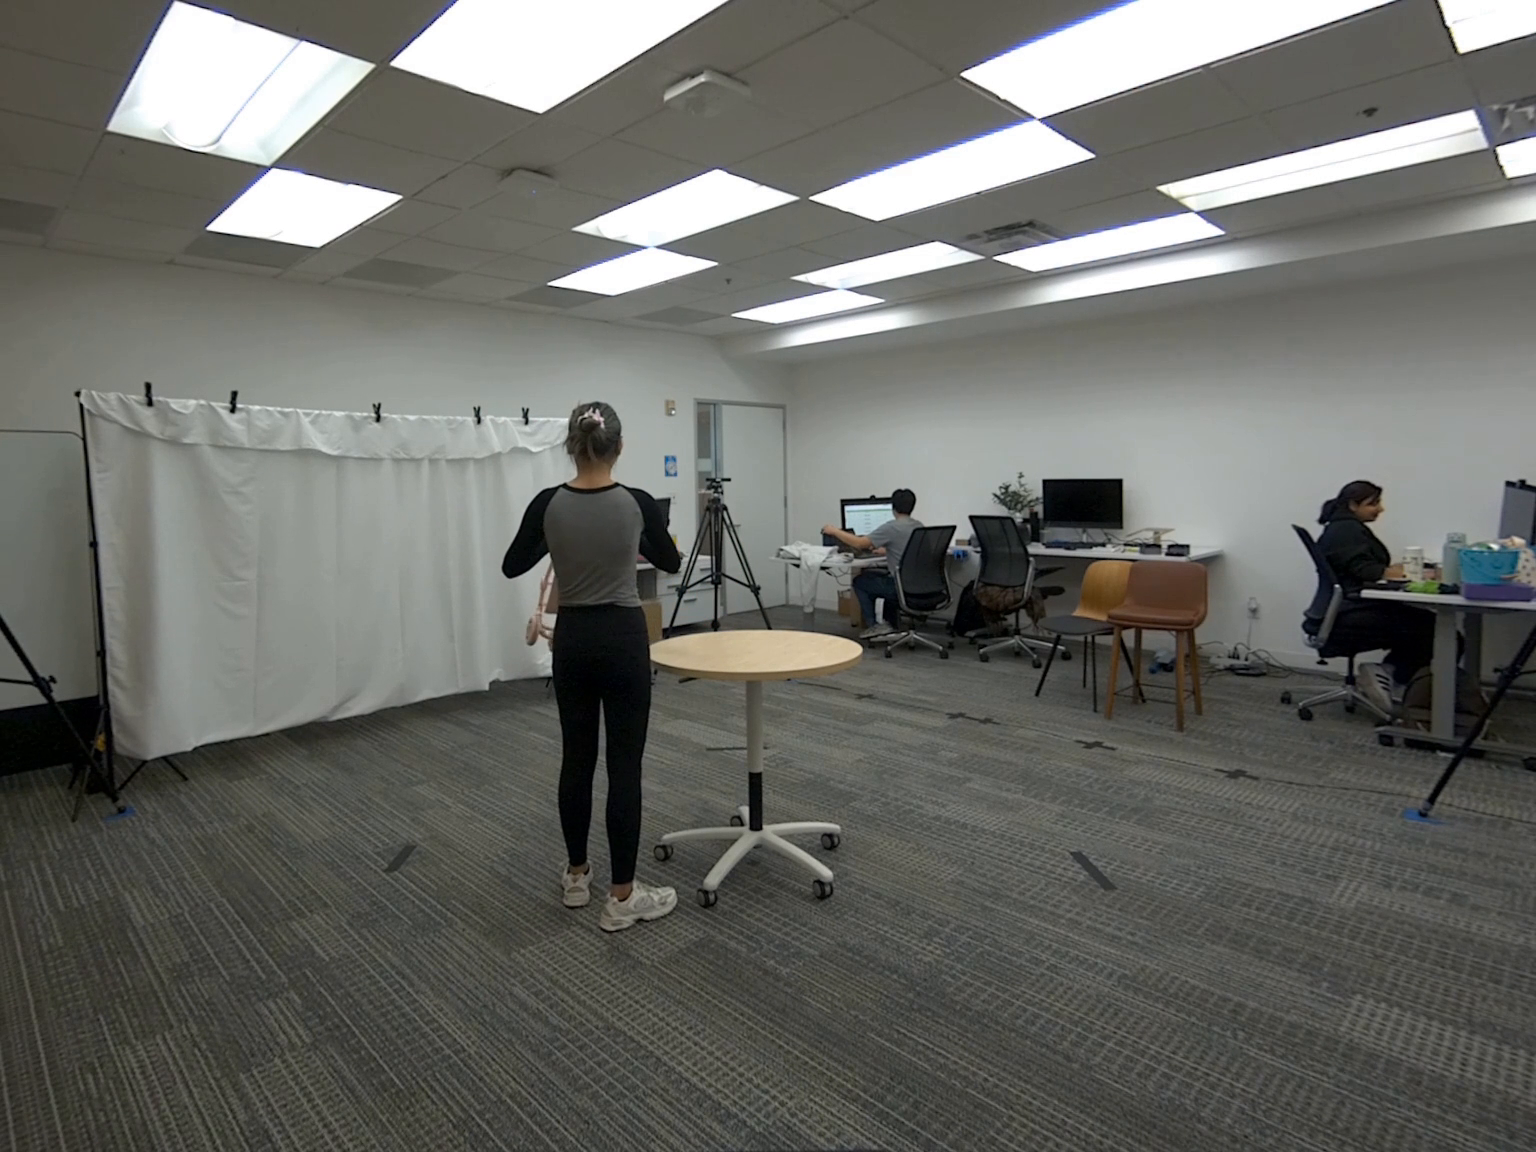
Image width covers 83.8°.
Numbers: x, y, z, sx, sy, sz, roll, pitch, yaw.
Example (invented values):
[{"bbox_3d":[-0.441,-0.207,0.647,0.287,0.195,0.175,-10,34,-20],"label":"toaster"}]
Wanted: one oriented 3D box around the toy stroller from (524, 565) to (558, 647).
[{"bbox_3d":[-0.718,0.050,3.184,0.276,0.534,0.348,12,1,-18],"label":"toy stroller"}]
